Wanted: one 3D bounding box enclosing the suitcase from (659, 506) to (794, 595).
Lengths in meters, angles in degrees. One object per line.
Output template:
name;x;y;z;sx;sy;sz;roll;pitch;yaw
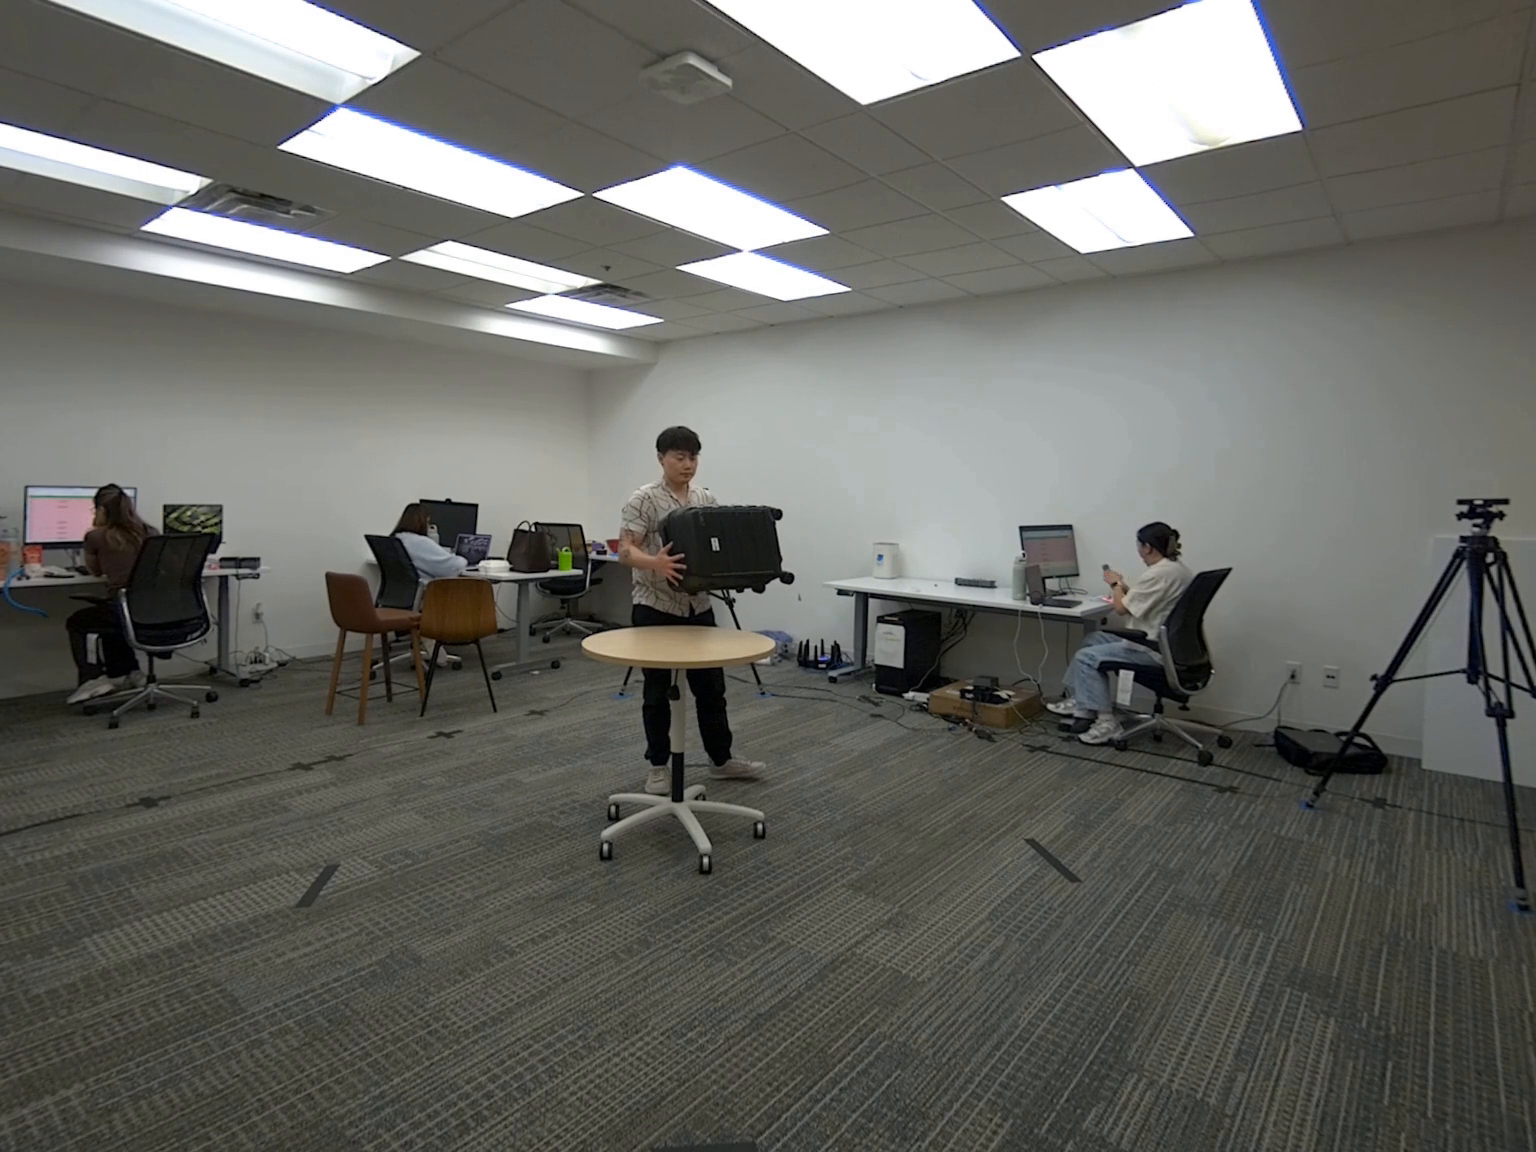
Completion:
suitcase;-0.204;-0.130;3.721;0.533;0.380;0.253;-1;-12;-37
